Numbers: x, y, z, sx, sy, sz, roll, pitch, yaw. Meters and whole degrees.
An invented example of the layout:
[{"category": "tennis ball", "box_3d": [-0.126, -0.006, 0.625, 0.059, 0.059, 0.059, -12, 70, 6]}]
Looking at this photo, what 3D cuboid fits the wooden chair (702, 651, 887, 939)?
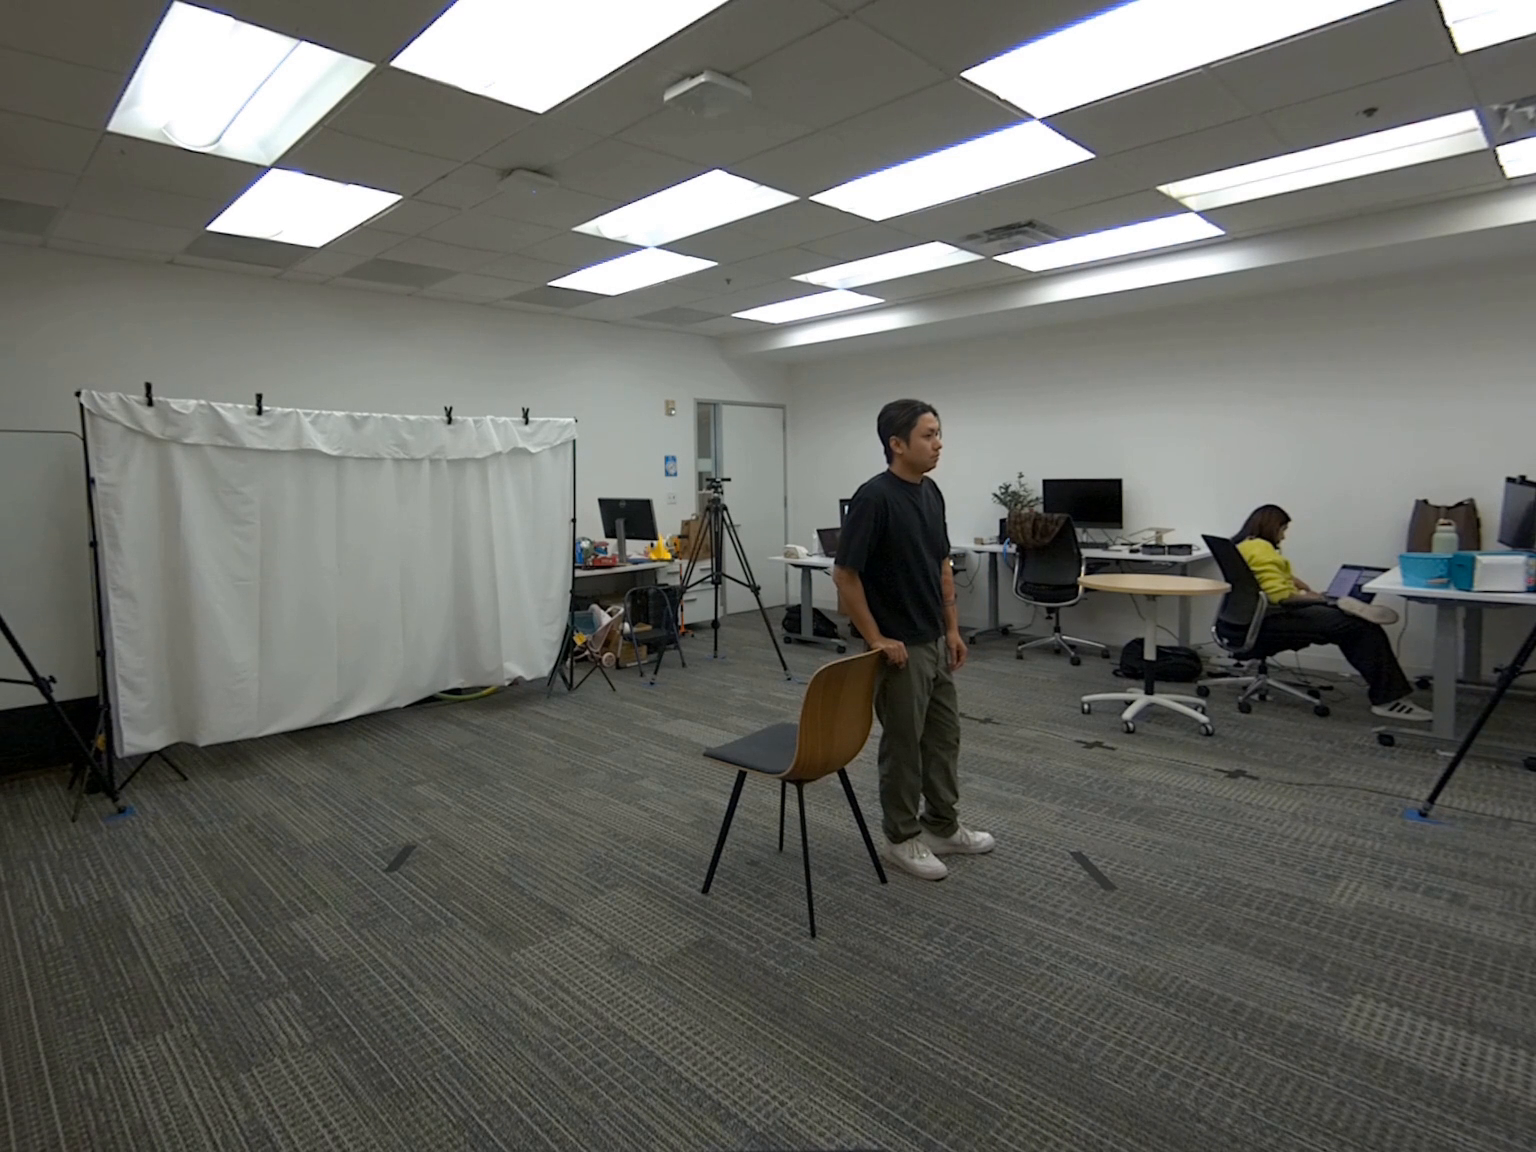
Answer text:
[{"category": "wooden chair", "box_3d": [0.078, 0.641, 2.874, 0.540, 0.872, 0.466, 8, 9, 38]}]
